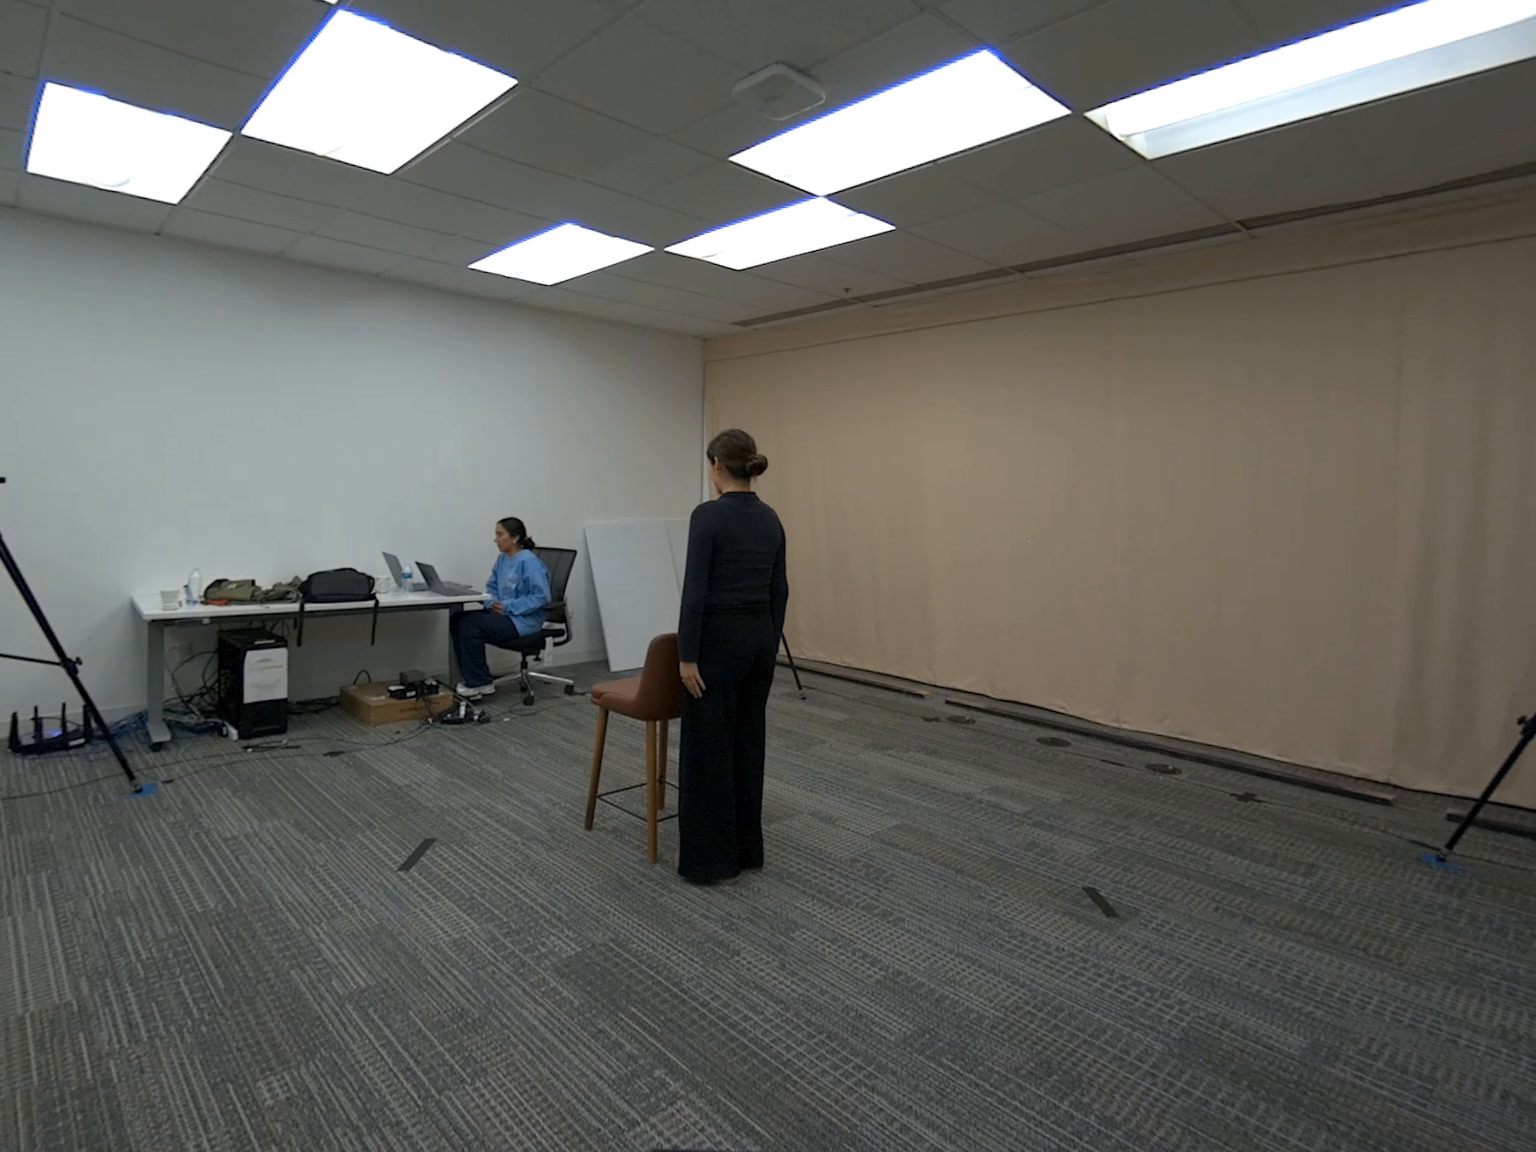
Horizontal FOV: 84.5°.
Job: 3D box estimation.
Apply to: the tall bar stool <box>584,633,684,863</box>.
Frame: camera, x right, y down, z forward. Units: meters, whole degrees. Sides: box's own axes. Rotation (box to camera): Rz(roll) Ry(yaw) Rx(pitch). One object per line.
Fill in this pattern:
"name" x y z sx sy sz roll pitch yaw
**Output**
"tall bar stool" -0.451 0.625 3.438 0.446 0.886 0.480 -1 7 -43
